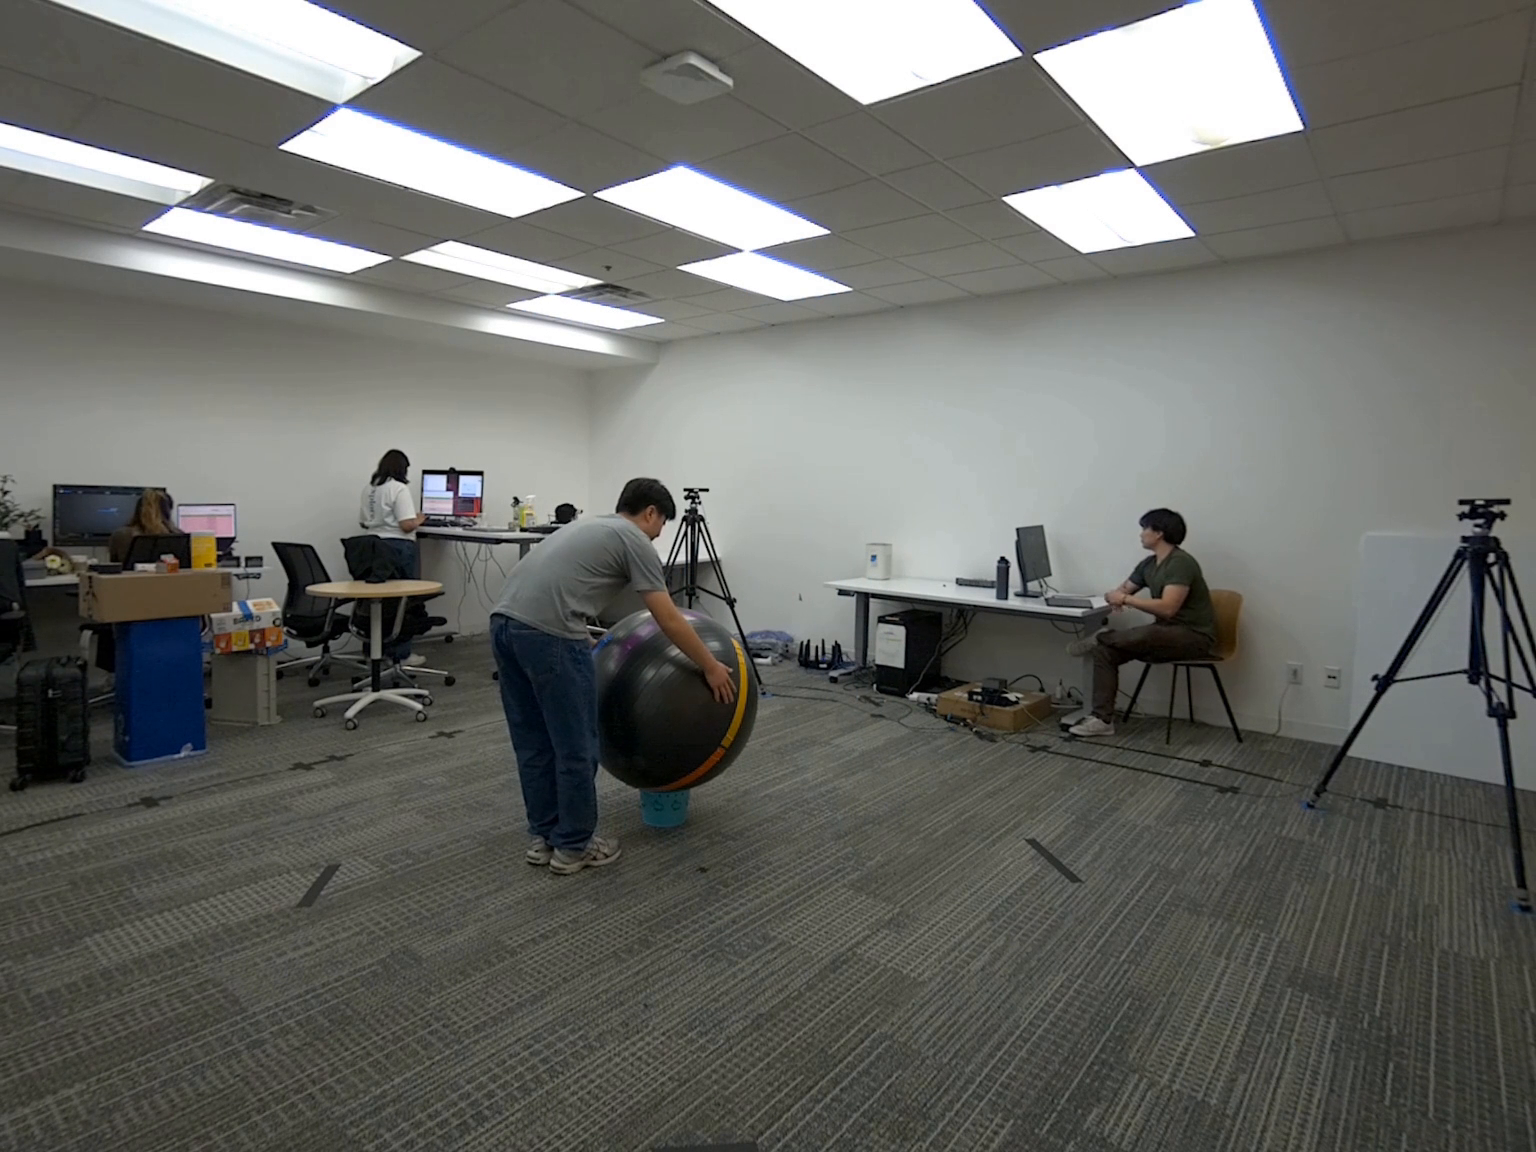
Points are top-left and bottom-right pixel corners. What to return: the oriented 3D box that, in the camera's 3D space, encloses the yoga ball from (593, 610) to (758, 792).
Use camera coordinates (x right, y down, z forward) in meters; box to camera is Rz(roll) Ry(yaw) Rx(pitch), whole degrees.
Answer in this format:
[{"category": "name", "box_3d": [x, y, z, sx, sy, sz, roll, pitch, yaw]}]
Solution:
[{"category": "yoga ball", "box_3d": [-0.431, 0.510, 3.562, 0.757, 0.755, 0.762, 1, 4, -2]}]
